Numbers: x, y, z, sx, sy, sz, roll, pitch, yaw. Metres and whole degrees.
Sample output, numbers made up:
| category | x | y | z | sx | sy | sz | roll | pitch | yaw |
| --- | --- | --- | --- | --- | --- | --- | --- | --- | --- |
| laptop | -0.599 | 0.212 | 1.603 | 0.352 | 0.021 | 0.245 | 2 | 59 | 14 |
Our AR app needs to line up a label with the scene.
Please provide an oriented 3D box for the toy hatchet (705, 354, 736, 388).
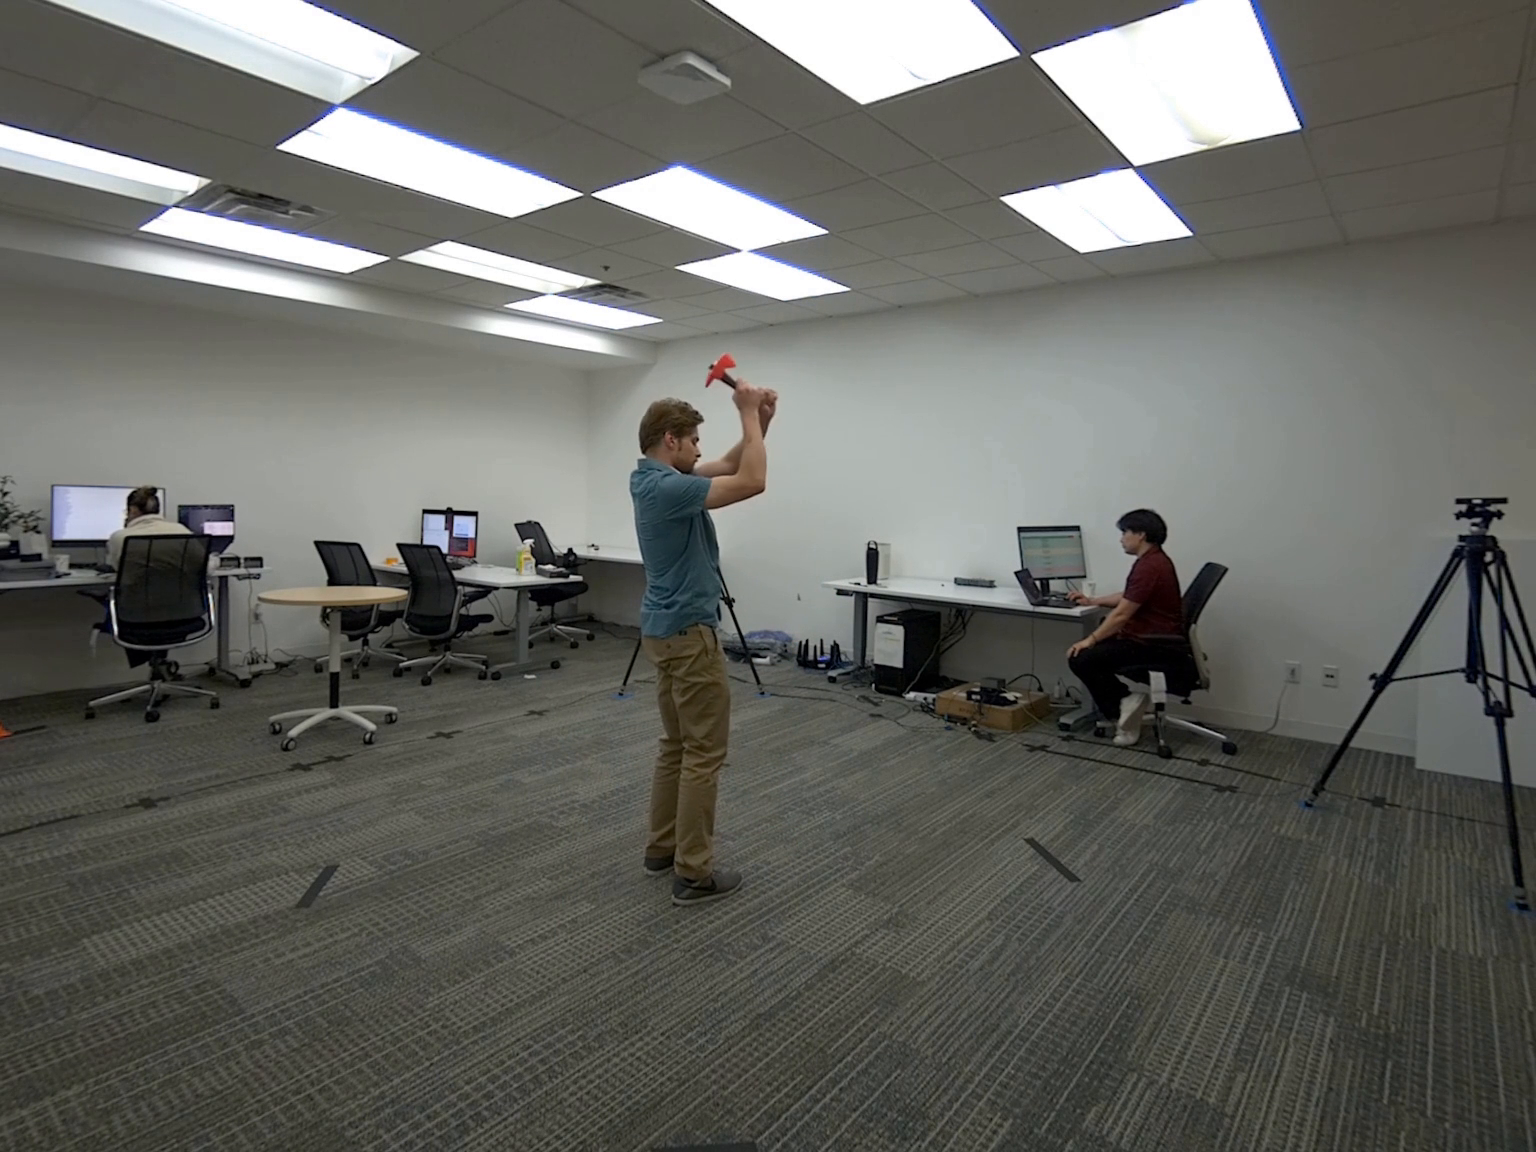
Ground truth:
| category | x | y | z | sx | sy | sz | roll | pitch | yaw |
| --- | --- | --- | --- | --- | --- | --- | --- | --- | --- |
| toy hatchet | -0.085 | -0.658 | 2.895 | 0.263 | 0.130 | 0.030 | 8 | 9 | -25 |
